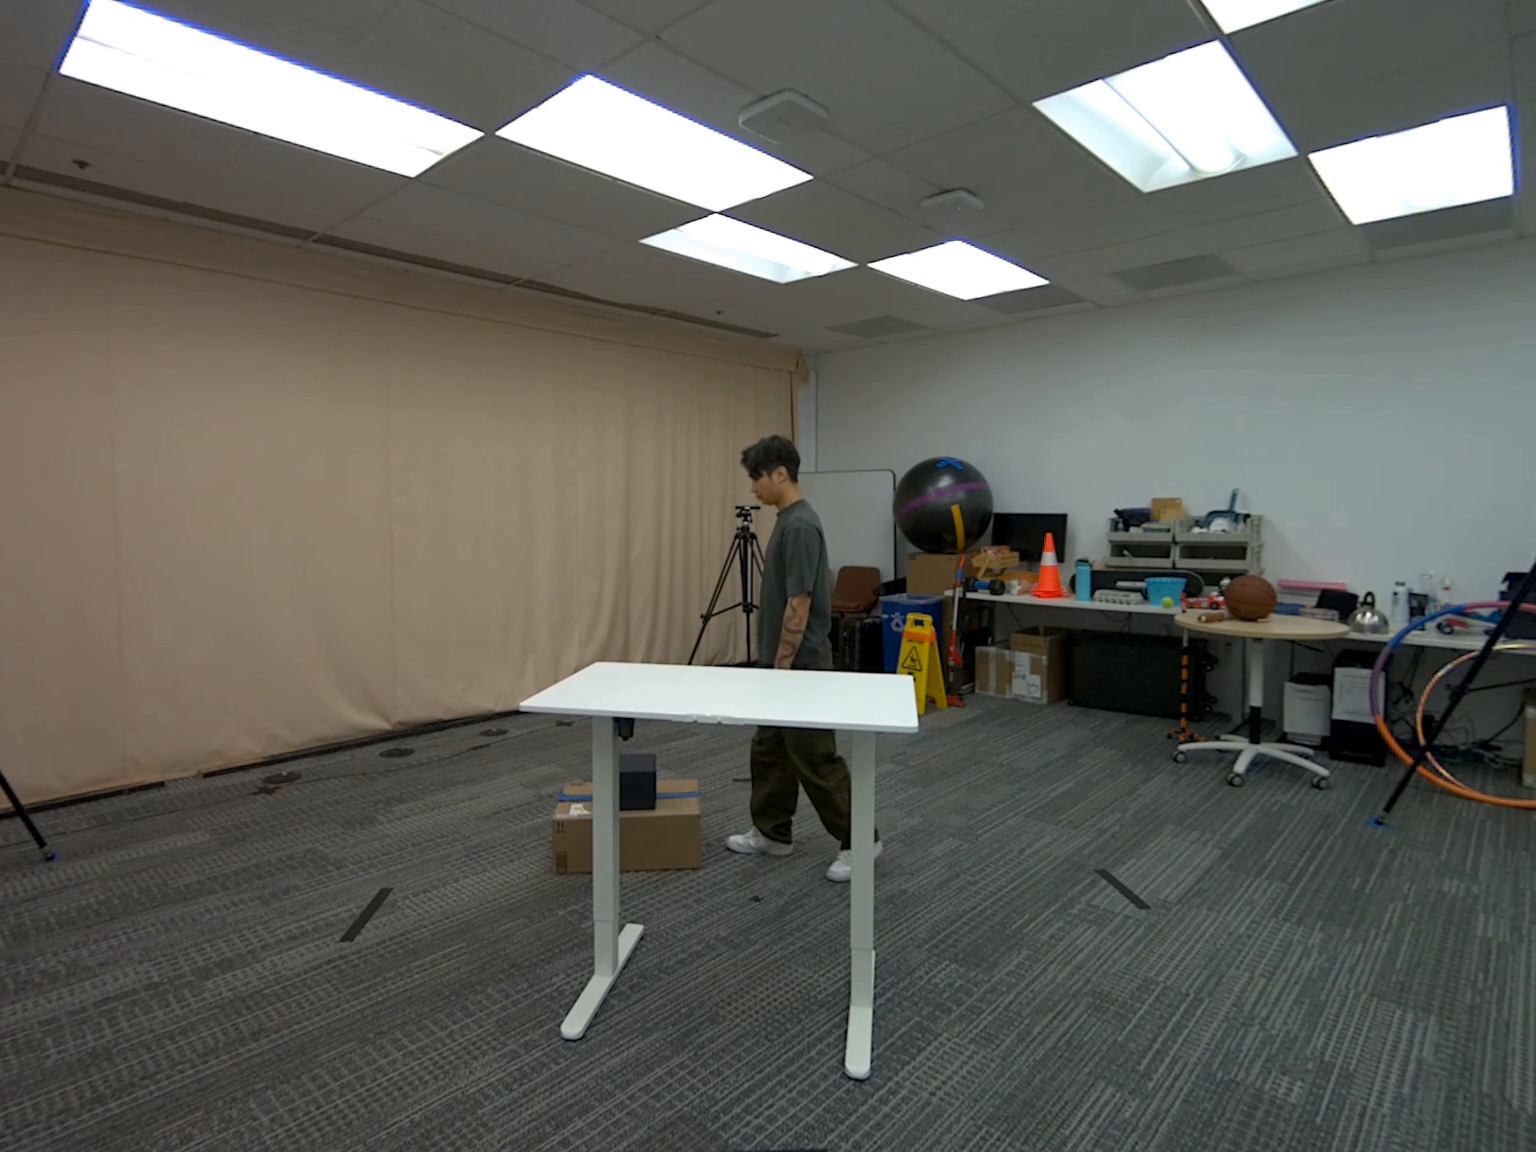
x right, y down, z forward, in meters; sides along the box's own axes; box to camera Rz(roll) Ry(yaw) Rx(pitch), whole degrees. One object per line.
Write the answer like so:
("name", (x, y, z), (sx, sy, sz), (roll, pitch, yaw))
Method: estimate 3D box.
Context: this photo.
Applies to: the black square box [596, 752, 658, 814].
("black square box", (-0.559, 0.818, 3.370), (0.227, 0.155, 0.219), (-2, 6, -6))
